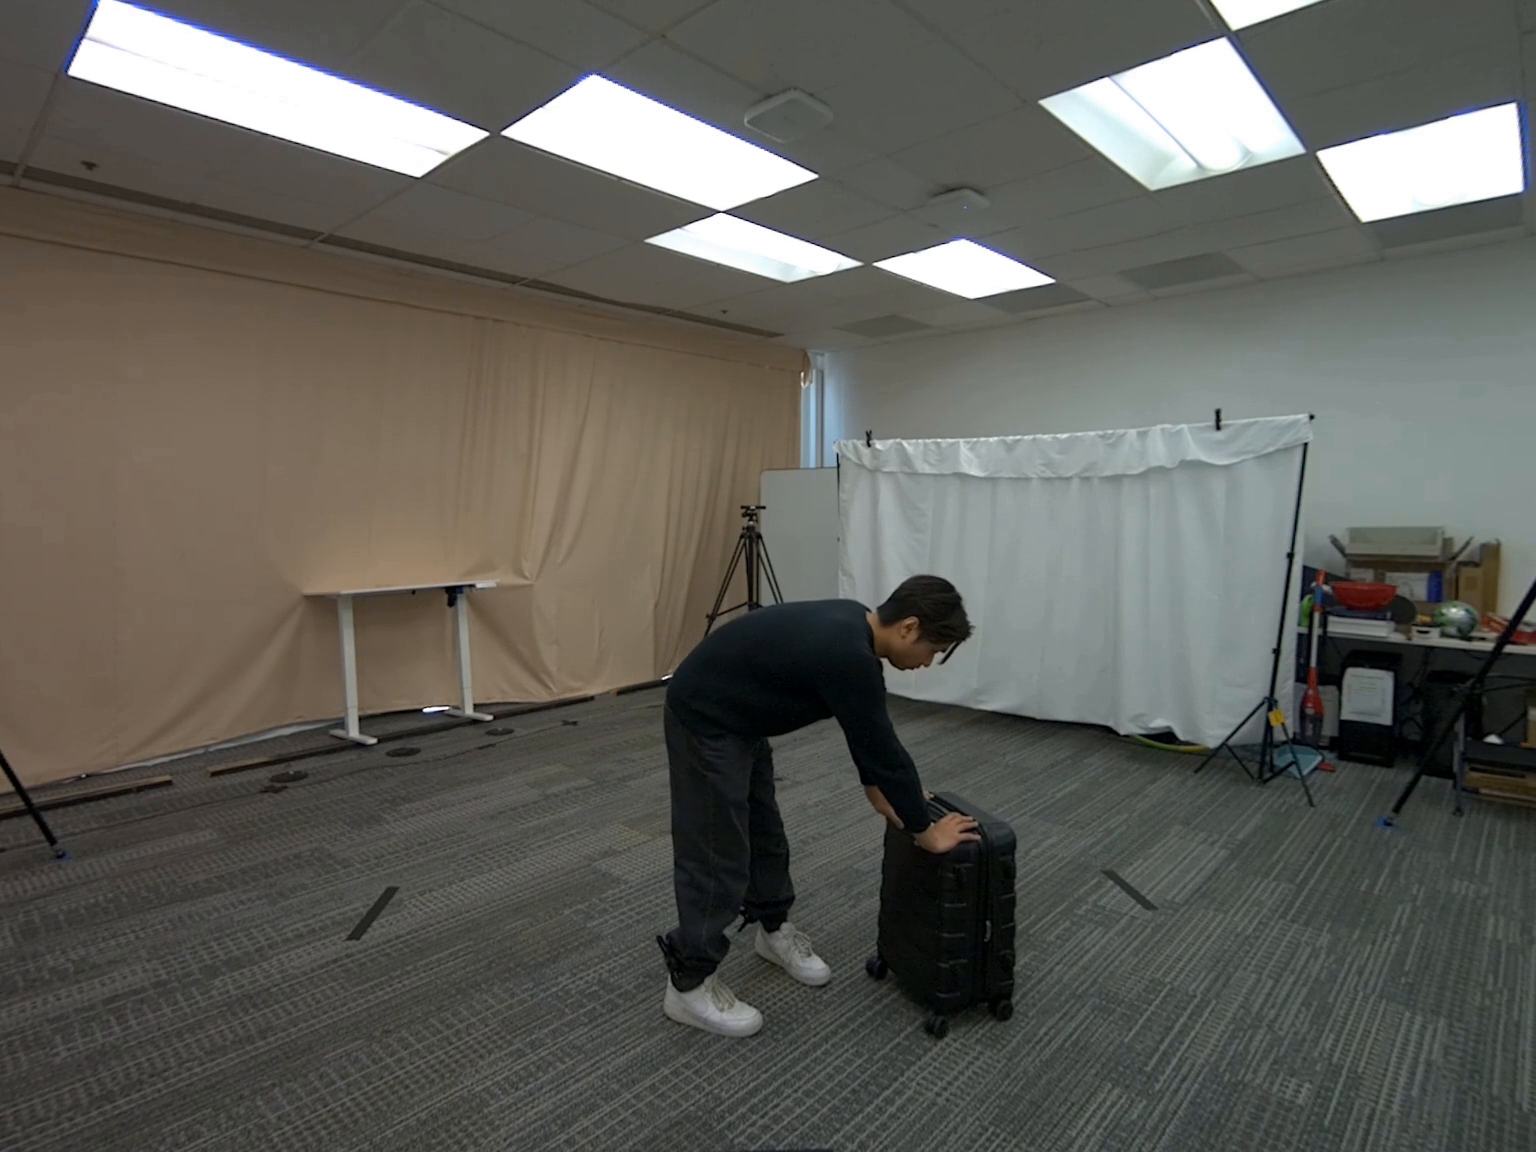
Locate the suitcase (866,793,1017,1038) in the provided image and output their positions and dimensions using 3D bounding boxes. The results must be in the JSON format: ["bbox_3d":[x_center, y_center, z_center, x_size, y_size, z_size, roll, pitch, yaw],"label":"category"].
[{"bbox_3d":[0.515,0.921,2.388,0.243,0.549,0.384,1,1,-23],"label":"suitcase"}]
